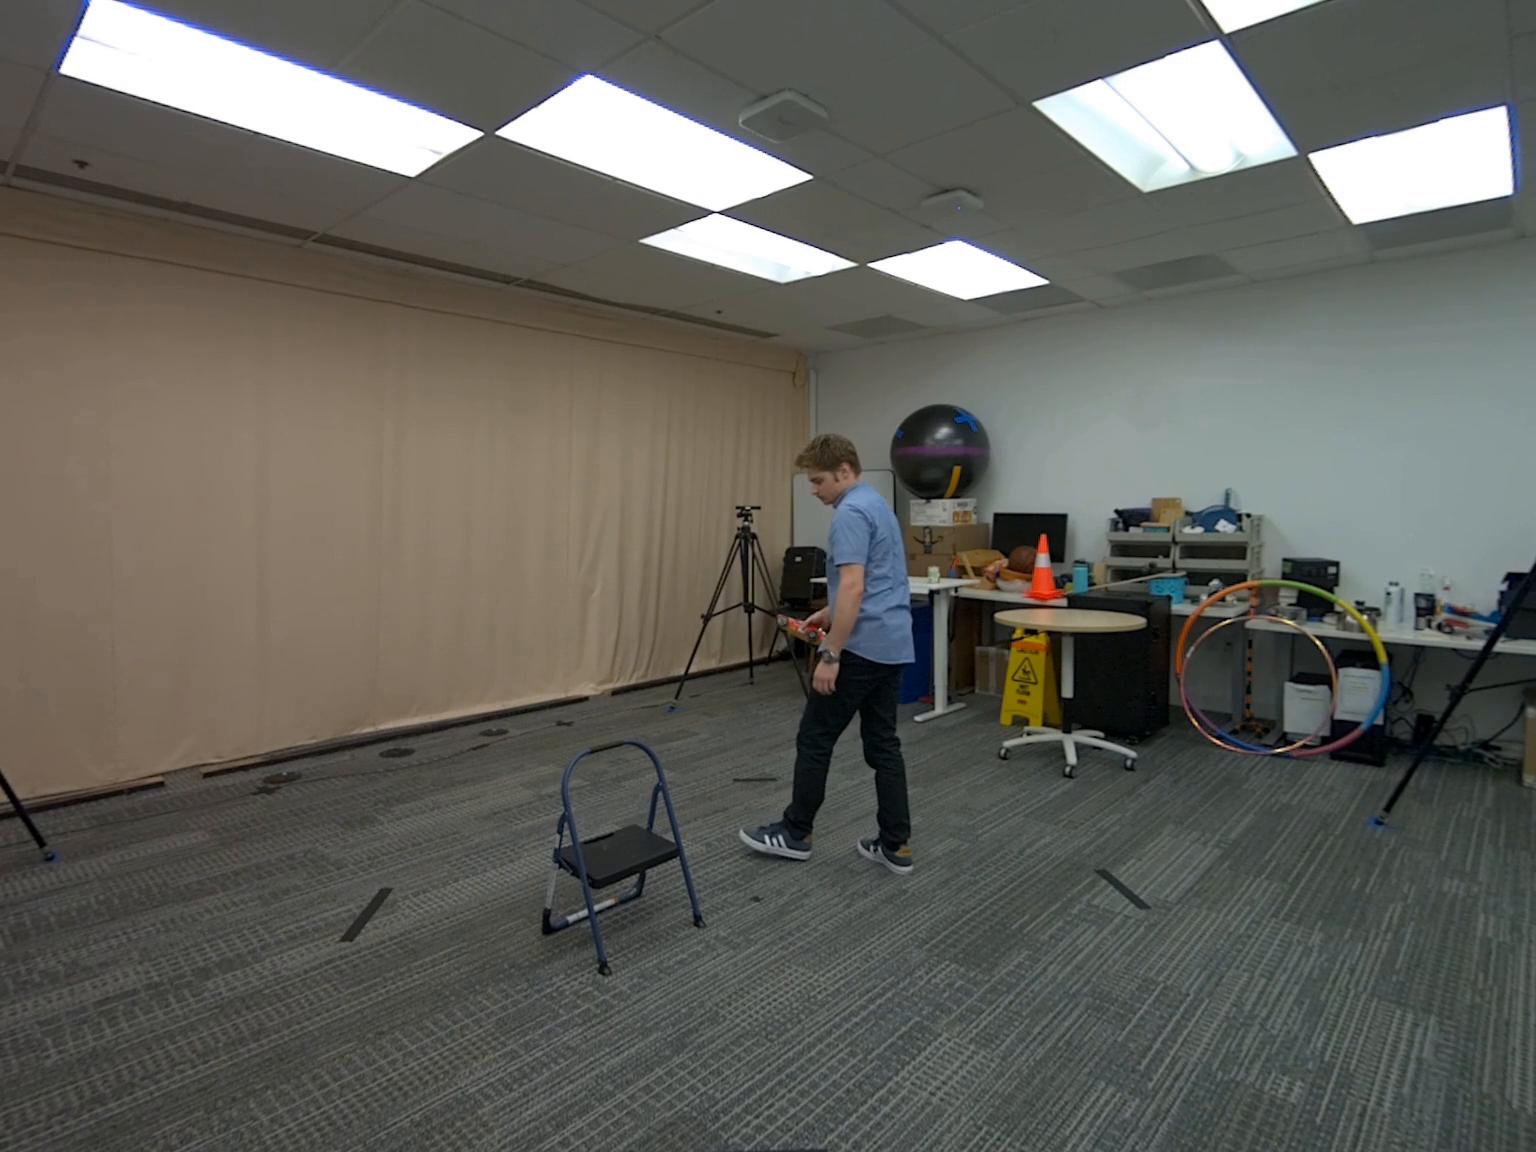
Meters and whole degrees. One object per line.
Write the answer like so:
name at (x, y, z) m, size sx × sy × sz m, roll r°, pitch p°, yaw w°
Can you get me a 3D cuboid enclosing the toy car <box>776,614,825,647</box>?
toy car at (0.158, 0.248, 3.654) m, size 0.260 × 0.083 × 0.127 m, roll 15°, pitch -22°, yaw 17°
